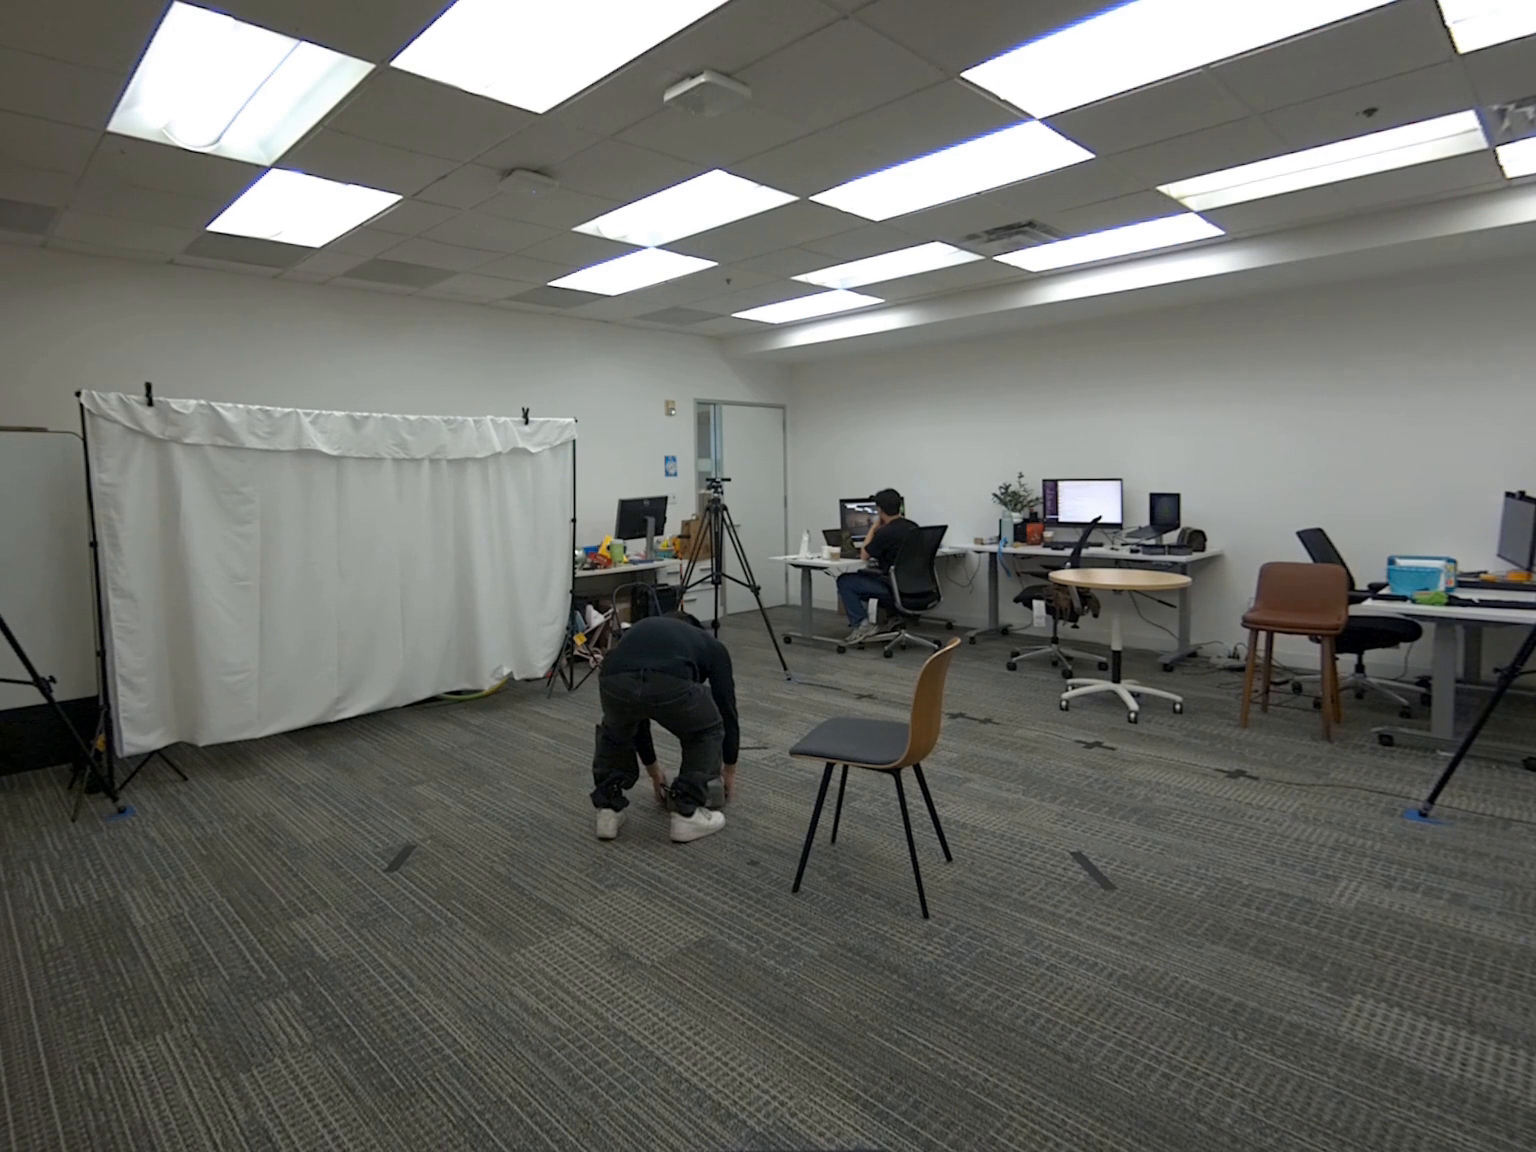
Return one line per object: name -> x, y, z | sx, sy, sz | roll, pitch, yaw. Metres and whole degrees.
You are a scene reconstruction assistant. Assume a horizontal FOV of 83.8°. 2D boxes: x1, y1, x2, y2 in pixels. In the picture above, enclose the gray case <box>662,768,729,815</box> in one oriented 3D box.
gray case -> -0.322, 0.924, 3.724 | 0.254, 0.104, 0.264 | -1, 6, -11
